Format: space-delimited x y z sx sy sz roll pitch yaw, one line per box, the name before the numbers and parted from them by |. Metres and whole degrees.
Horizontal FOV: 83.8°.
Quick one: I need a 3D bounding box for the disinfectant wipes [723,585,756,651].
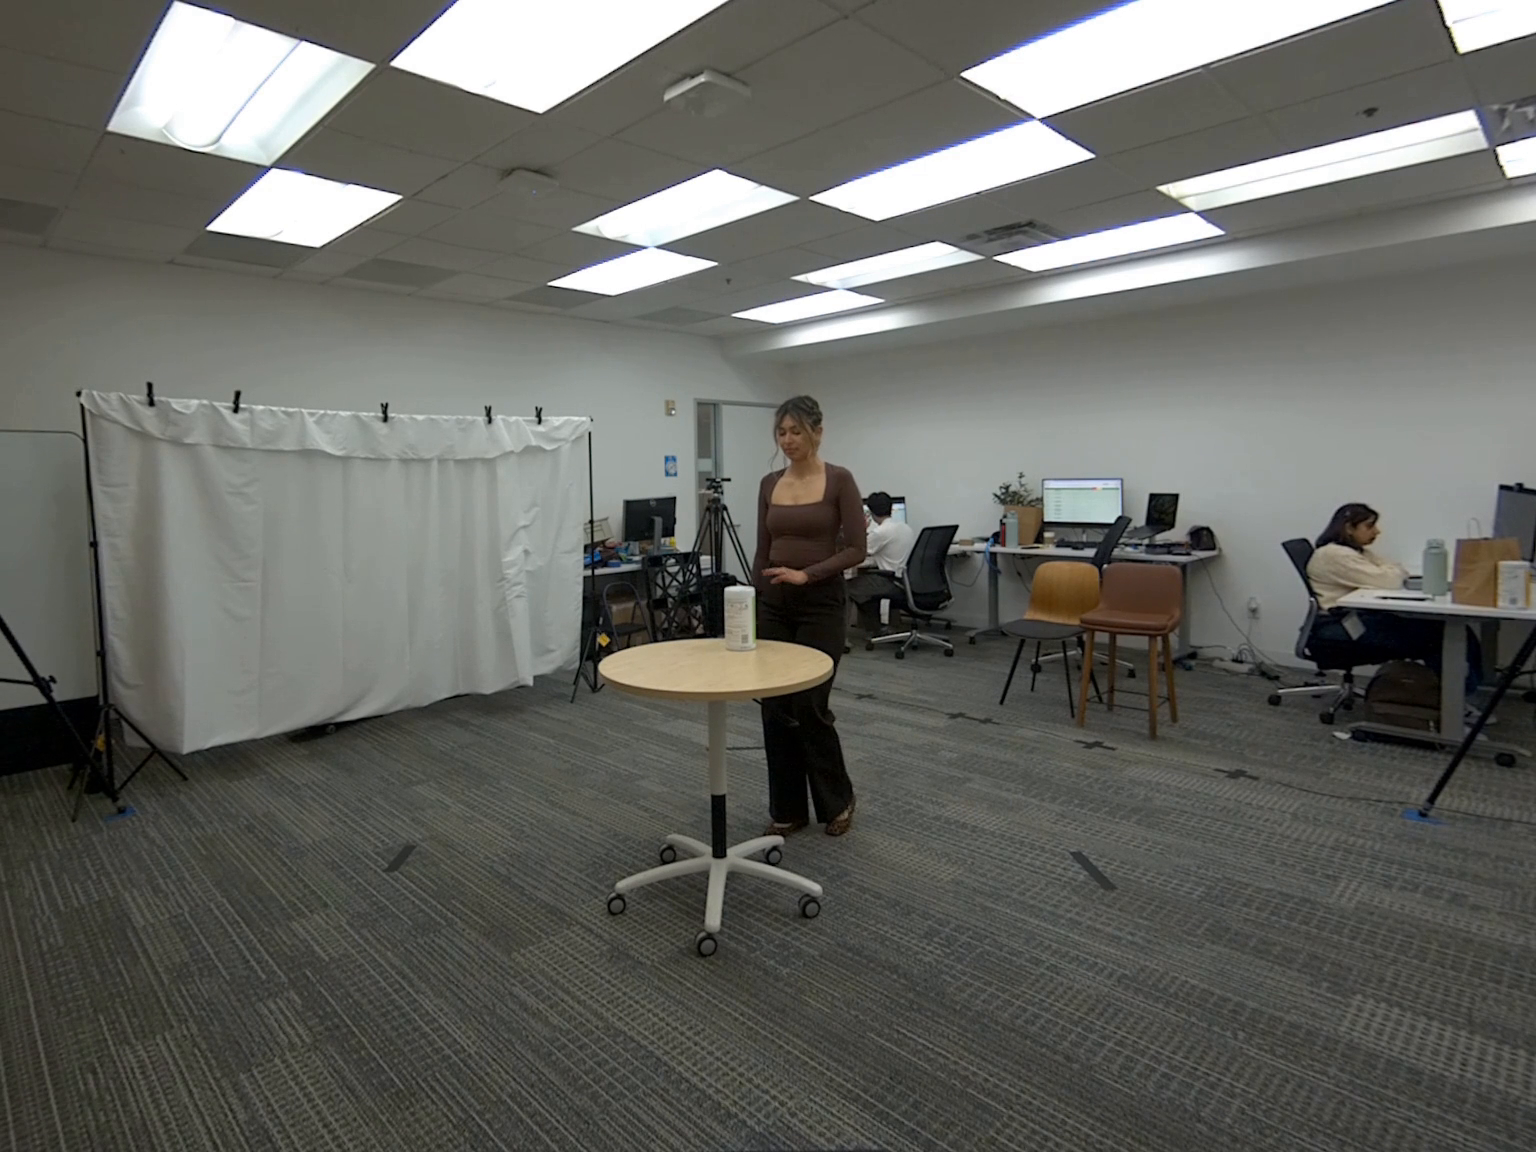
disinfectant wipes | -0.101 0.147 3.000 0.118 0.217 0.118 -1 3 -2
